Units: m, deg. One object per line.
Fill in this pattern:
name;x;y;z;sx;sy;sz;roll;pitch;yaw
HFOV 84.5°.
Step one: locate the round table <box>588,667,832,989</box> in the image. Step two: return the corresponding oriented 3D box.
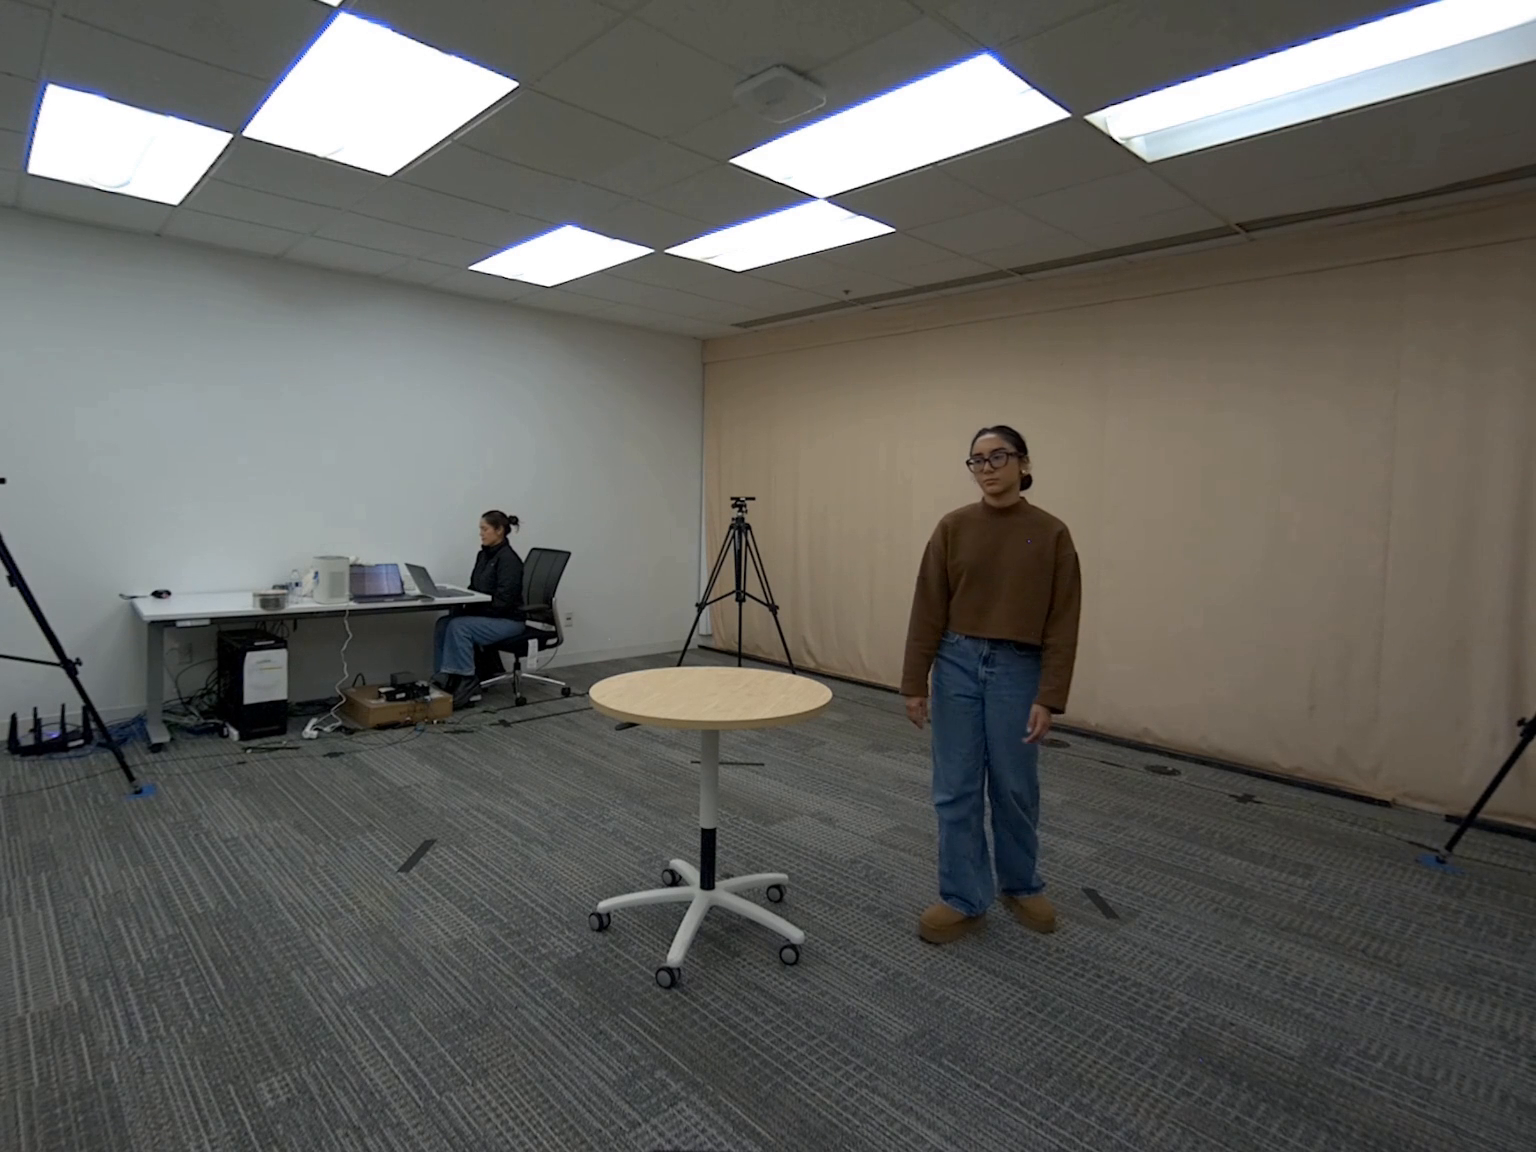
round table;-0.193;0.753;2.693;0.763;0.792;0.767;1;4;-1
